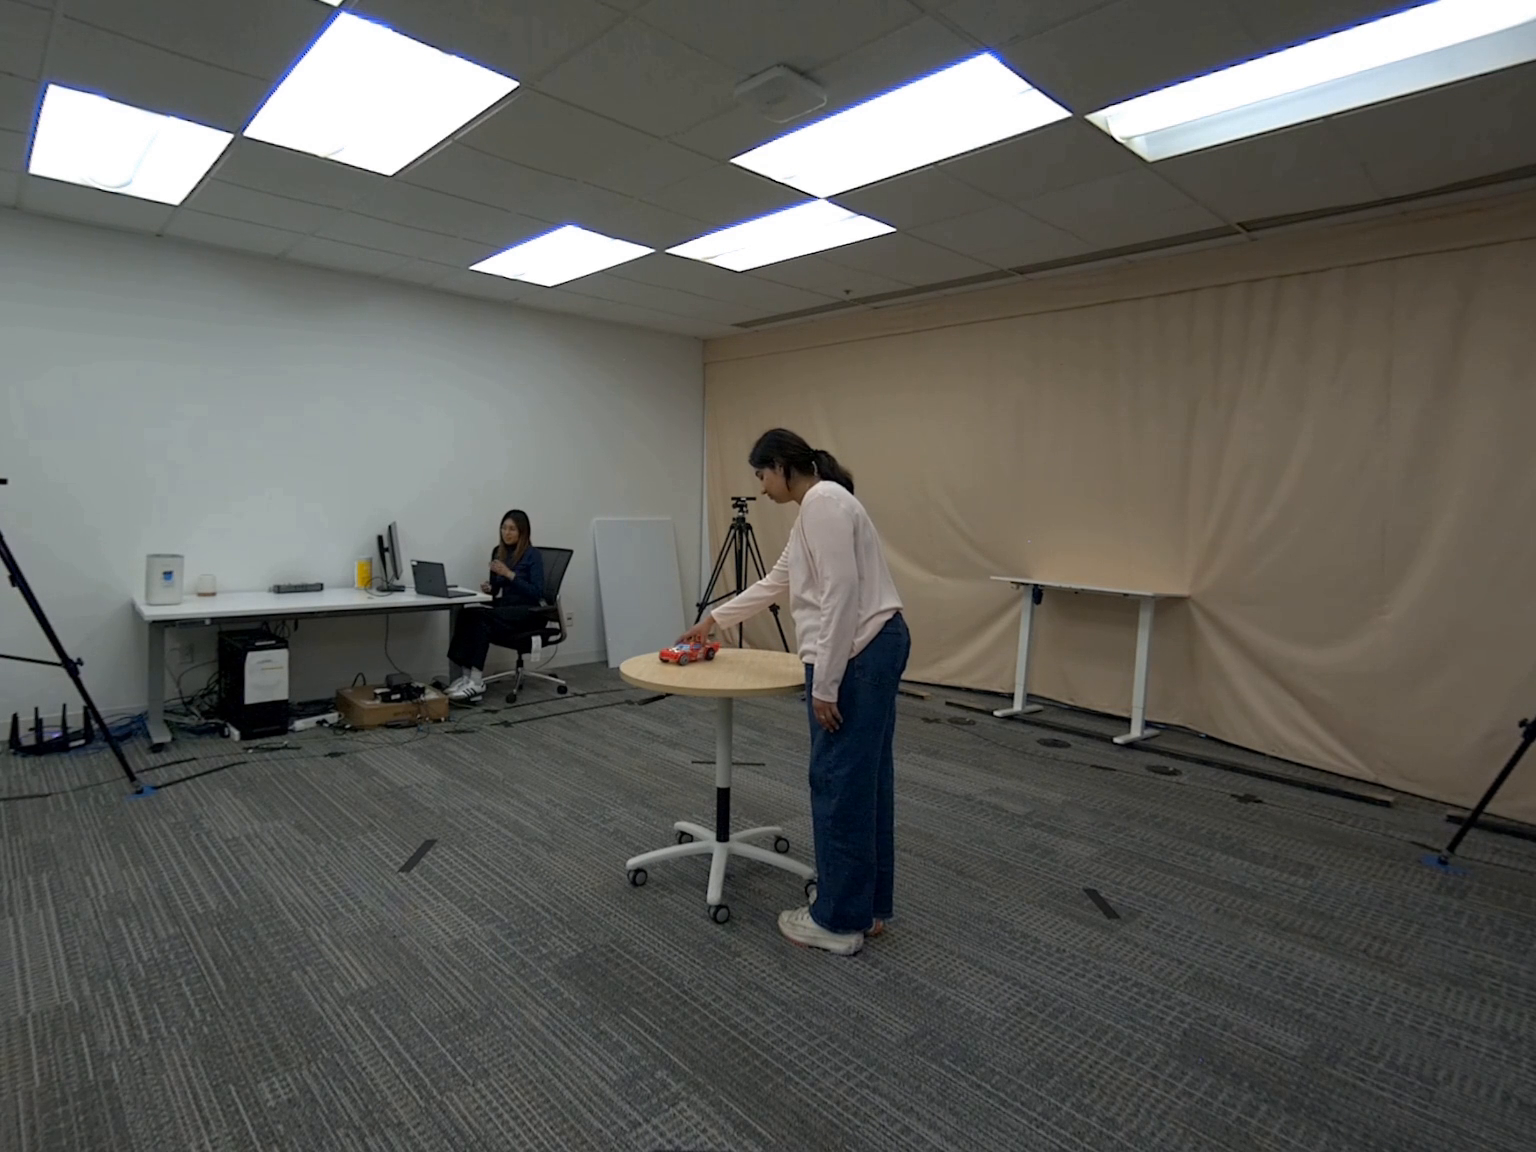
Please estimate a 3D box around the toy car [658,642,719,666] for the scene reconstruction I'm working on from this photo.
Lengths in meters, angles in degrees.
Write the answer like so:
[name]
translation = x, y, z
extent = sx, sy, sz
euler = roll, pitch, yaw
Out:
[toy car]
translation = -0.296, 0.288, 3.156
extent = 0.133, 0.082, 0.251
euler = 3, 16, 39
